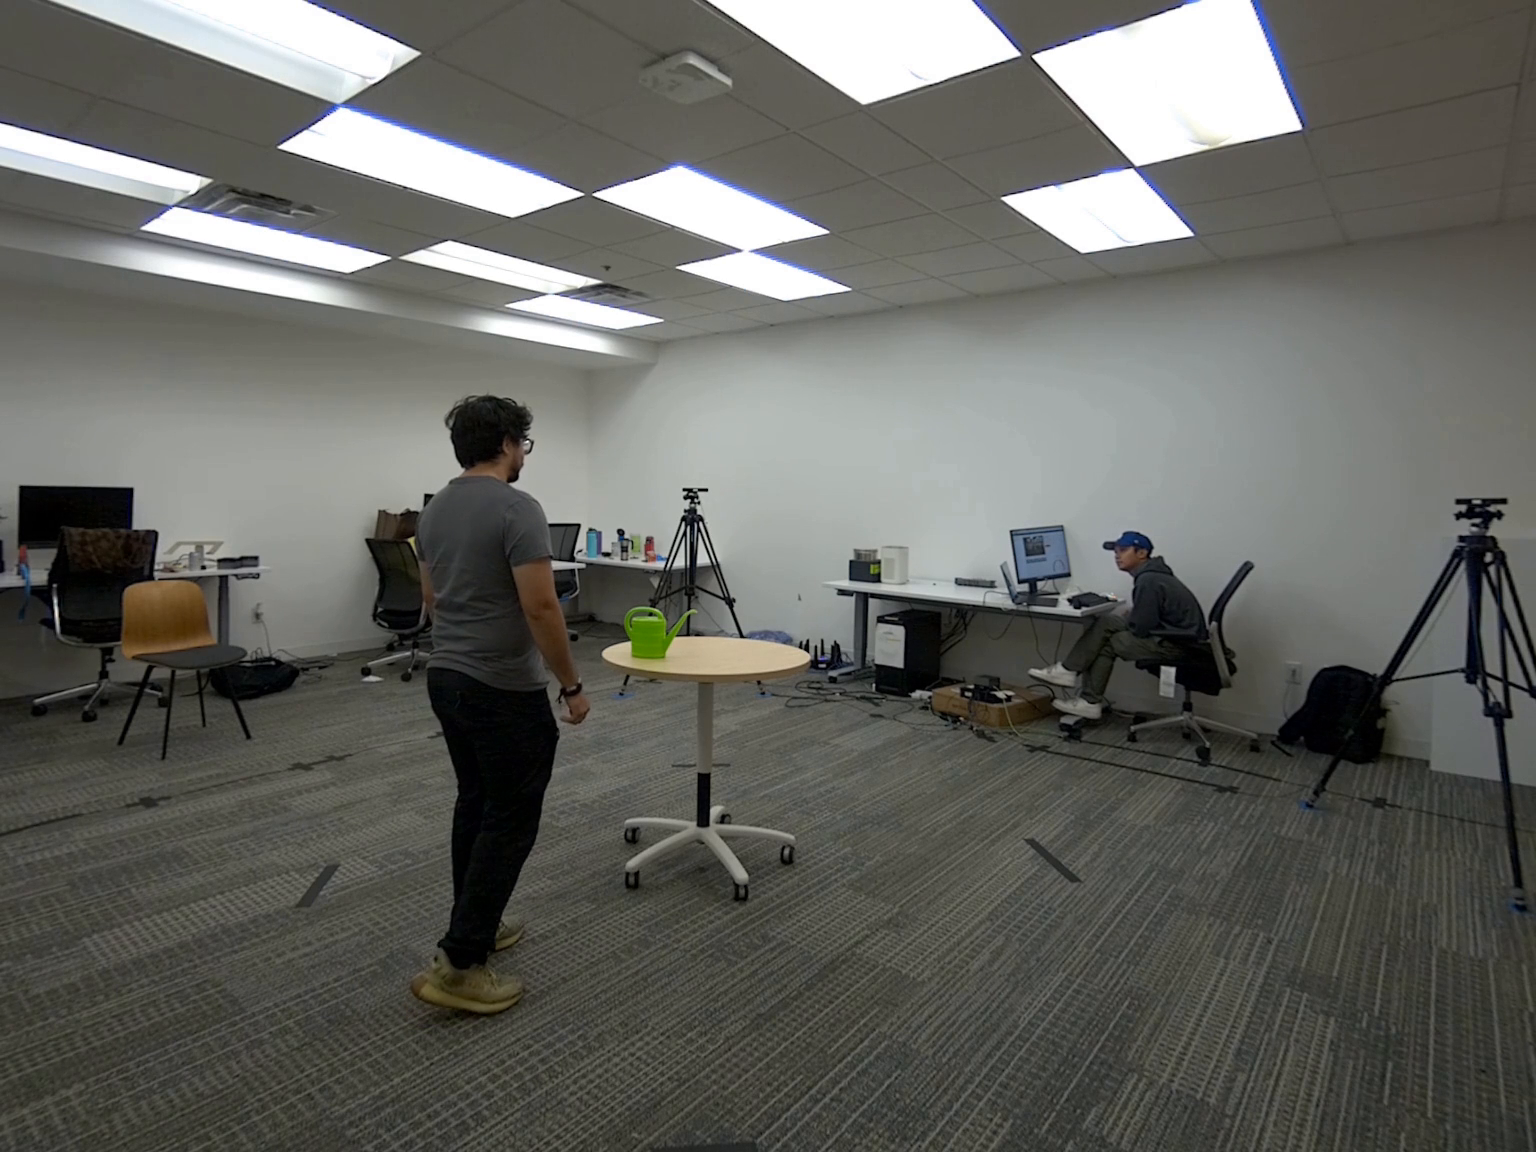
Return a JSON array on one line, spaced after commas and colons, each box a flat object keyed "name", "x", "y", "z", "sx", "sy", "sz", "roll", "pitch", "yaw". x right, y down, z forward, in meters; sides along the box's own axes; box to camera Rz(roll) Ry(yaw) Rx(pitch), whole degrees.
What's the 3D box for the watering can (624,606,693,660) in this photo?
[{"name": "watering can", "x": -0.404, "y": 0.202, "z": 3.031, "sx": 0.286, "sy": 0.176, "sz": 0.095, "roll": 2, "pitch": 5, "yaw": 31}]
